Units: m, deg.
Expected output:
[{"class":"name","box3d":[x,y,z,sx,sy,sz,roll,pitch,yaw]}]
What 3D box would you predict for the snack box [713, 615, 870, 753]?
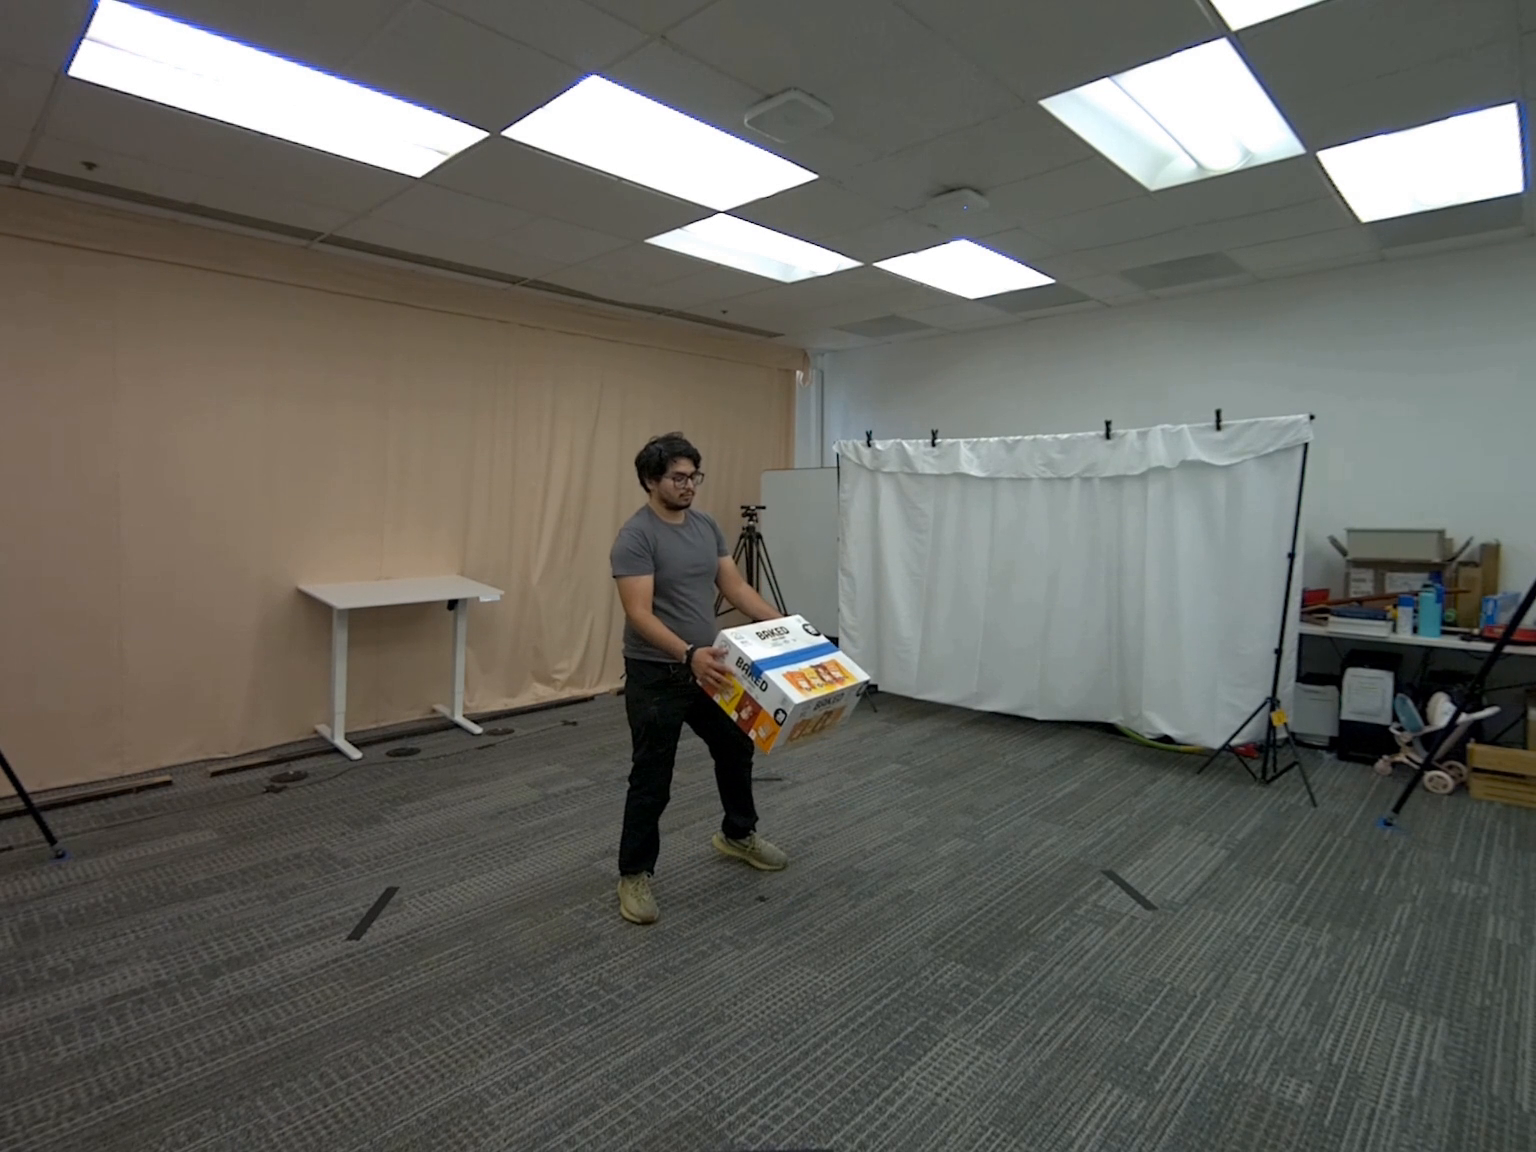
[{"class":"snack box","box3d":[0.063,0.334,2.660,0.393,0.205,0.351,-7,41,-49]}]
